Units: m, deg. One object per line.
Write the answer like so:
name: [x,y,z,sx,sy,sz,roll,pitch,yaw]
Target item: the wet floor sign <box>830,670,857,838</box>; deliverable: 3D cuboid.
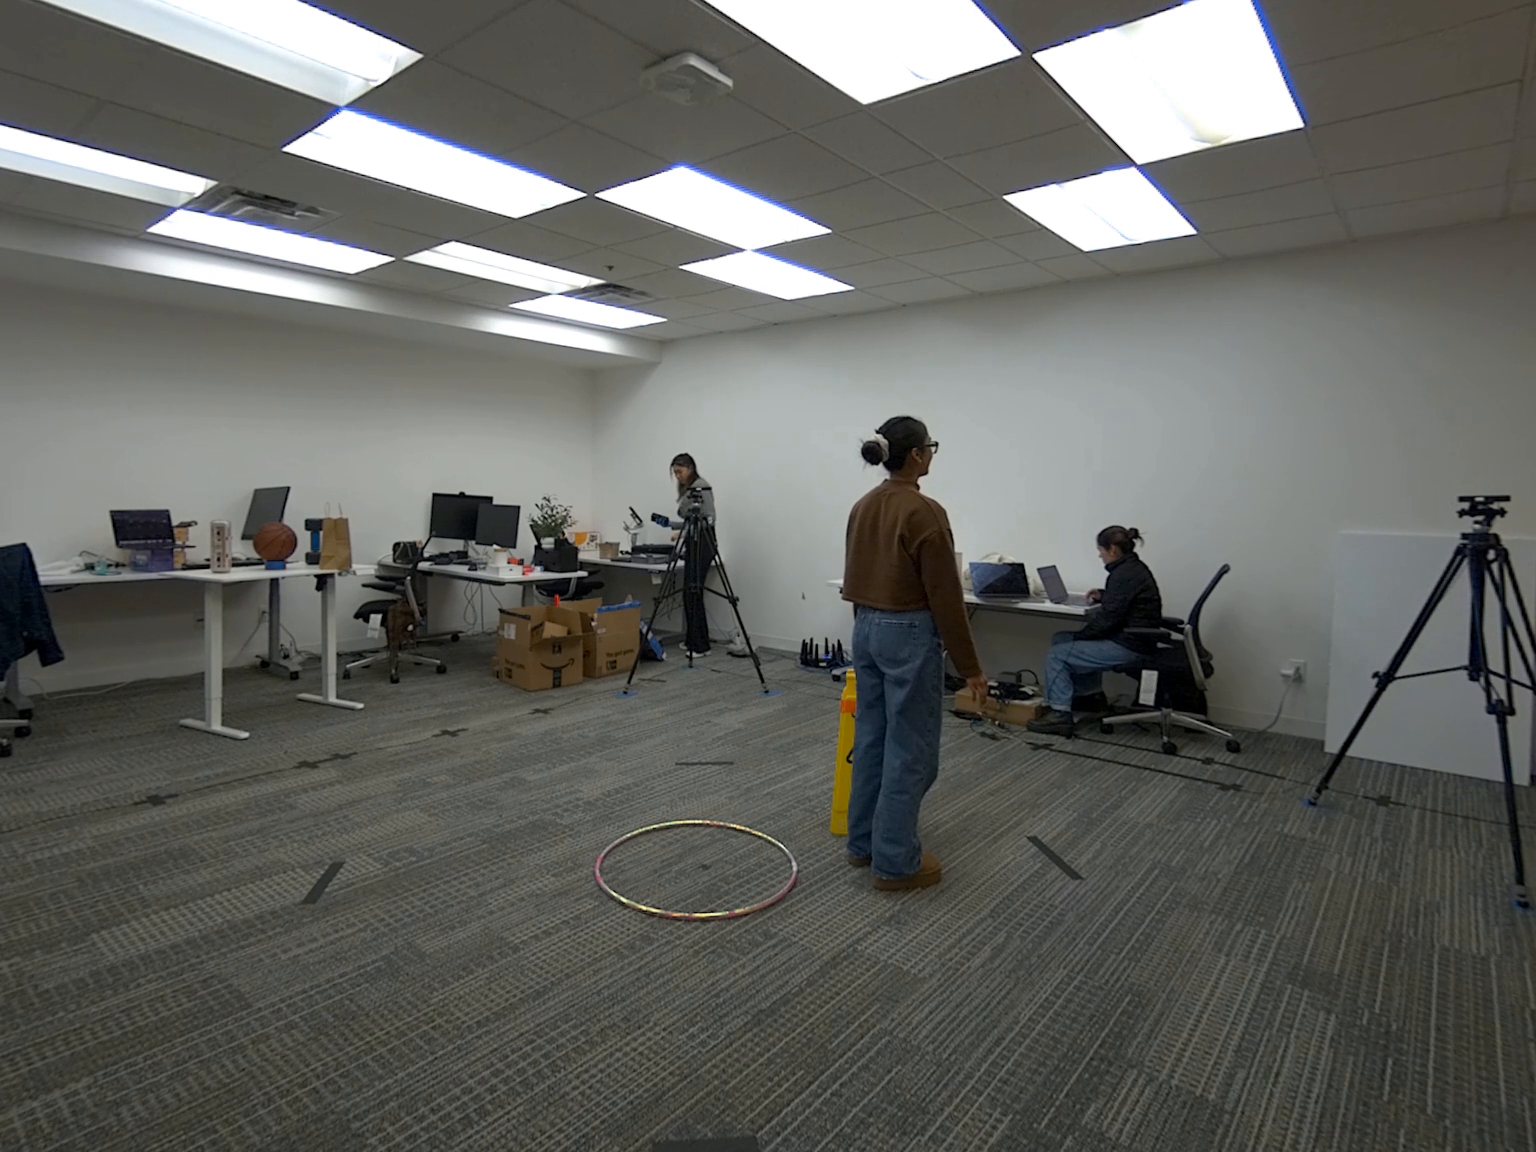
wet floor sign: [0.410,0.706,3.537,0.286,0.644,0.287,3,4,10]
